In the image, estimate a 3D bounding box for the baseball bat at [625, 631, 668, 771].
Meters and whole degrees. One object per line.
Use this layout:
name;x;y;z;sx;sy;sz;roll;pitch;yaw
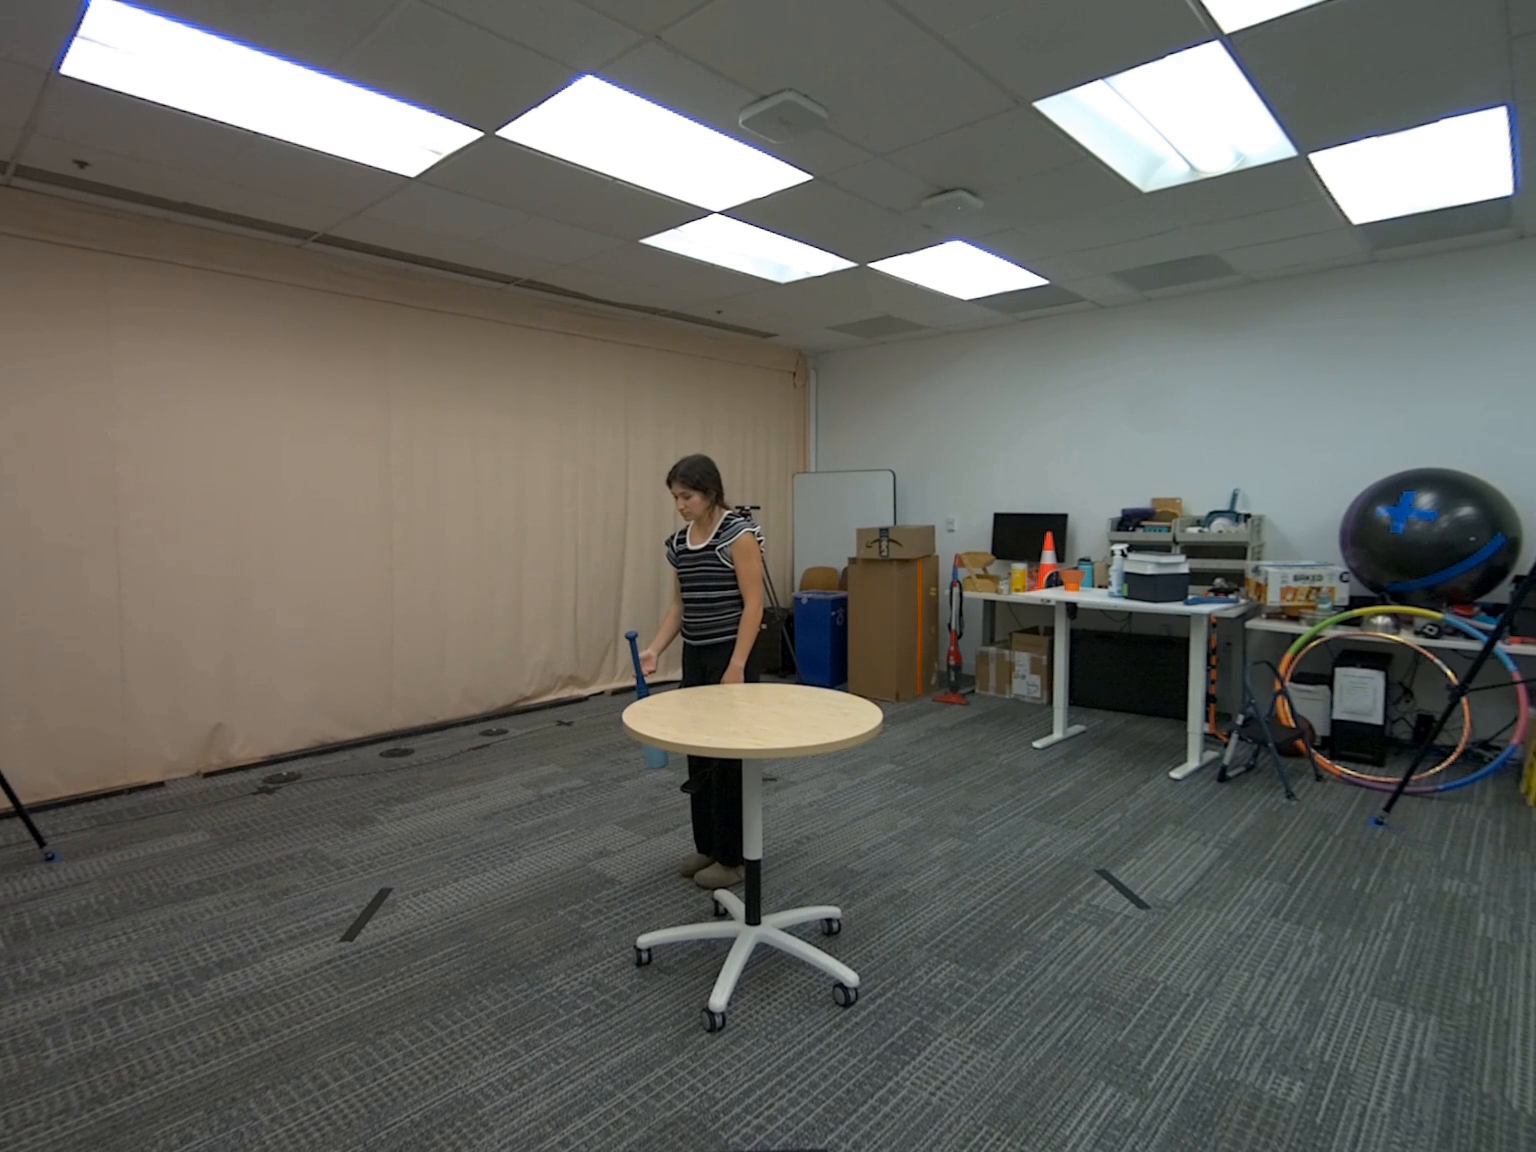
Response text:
baseball bat;-0.476;0.481;3.209;0.089;0.539;0.089;-10;9;0
